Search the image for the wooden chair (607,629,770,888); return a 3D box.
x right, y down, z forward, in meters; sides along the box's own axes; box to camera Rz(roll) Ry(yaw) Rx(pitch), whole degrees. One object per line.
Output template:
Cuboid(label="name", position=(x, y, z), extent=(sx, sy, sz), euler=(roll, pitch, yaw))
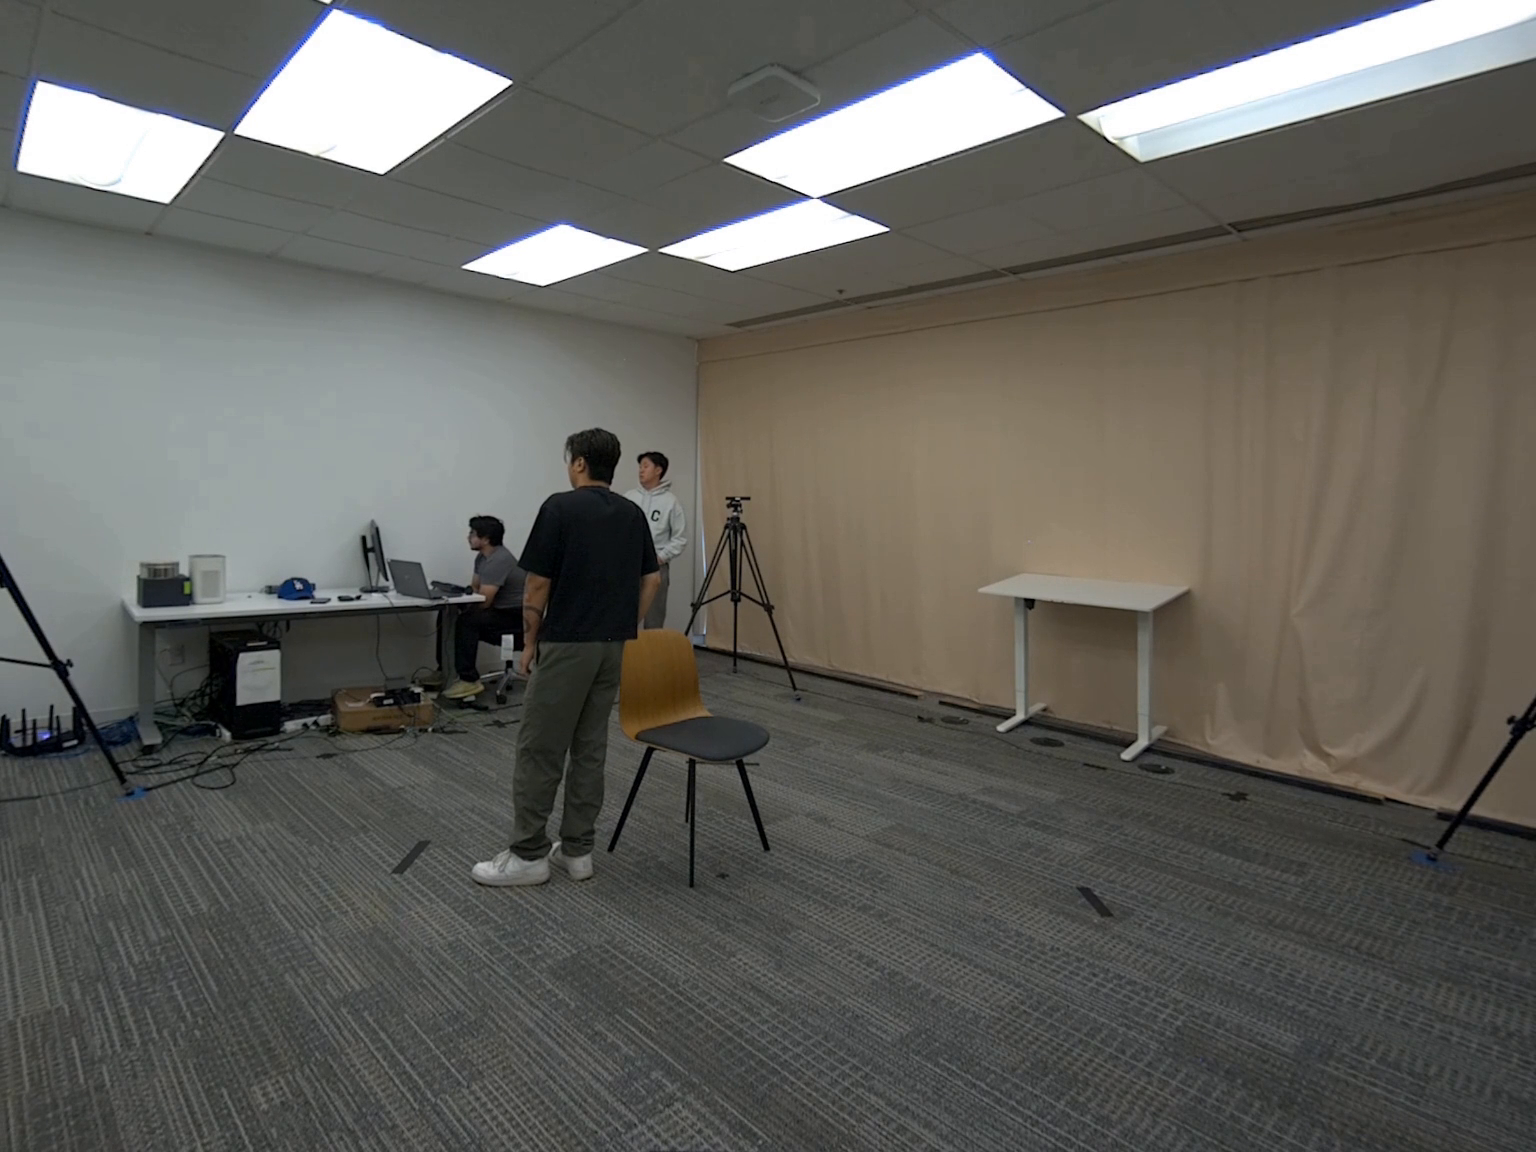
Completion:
Cuboid(label="wooden chair", position=(-0.294, 0.662, 3.284), extent=(0.535, 0.877, 0.467), euler=(-1, 0, 40))
